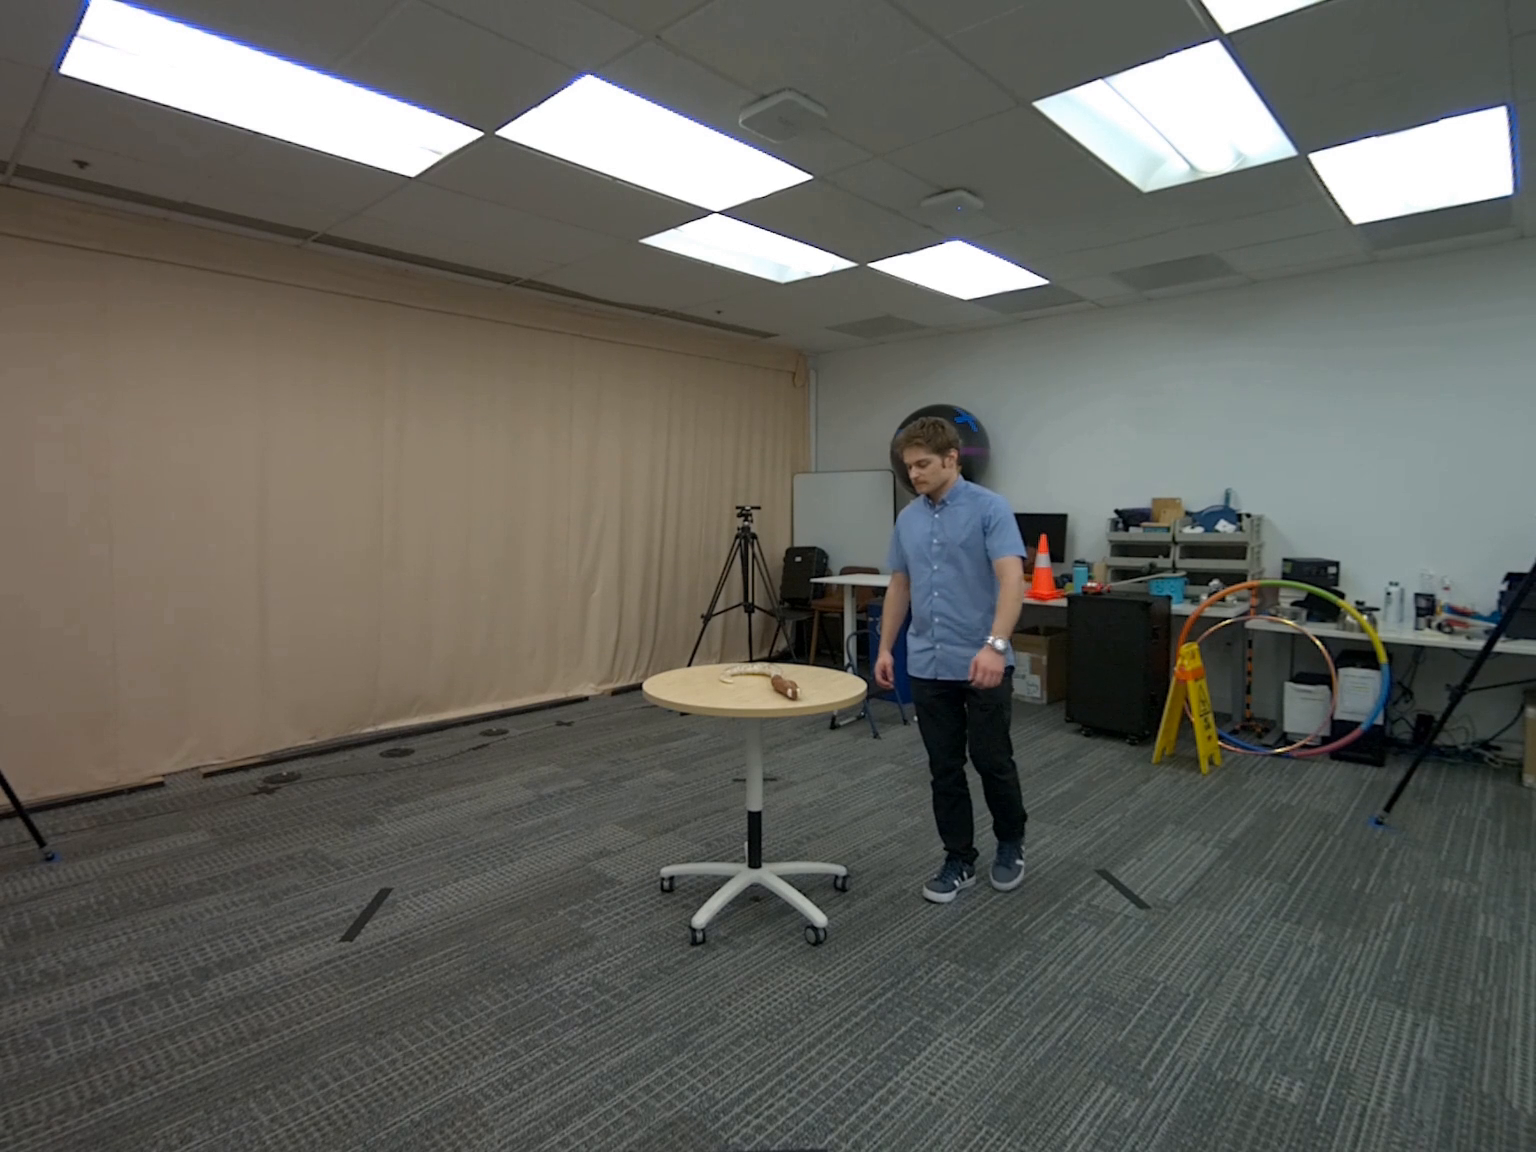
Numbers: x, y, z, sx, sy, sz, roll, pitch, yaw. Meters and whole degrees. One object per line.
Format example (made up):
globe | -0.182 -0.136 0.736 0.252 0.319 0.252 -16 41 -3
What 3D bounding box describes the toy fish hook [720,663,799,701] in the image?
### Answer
toy fish hook | -0.020 0.360 2.846 0.222 0.048 0.513 -7 5 -11
